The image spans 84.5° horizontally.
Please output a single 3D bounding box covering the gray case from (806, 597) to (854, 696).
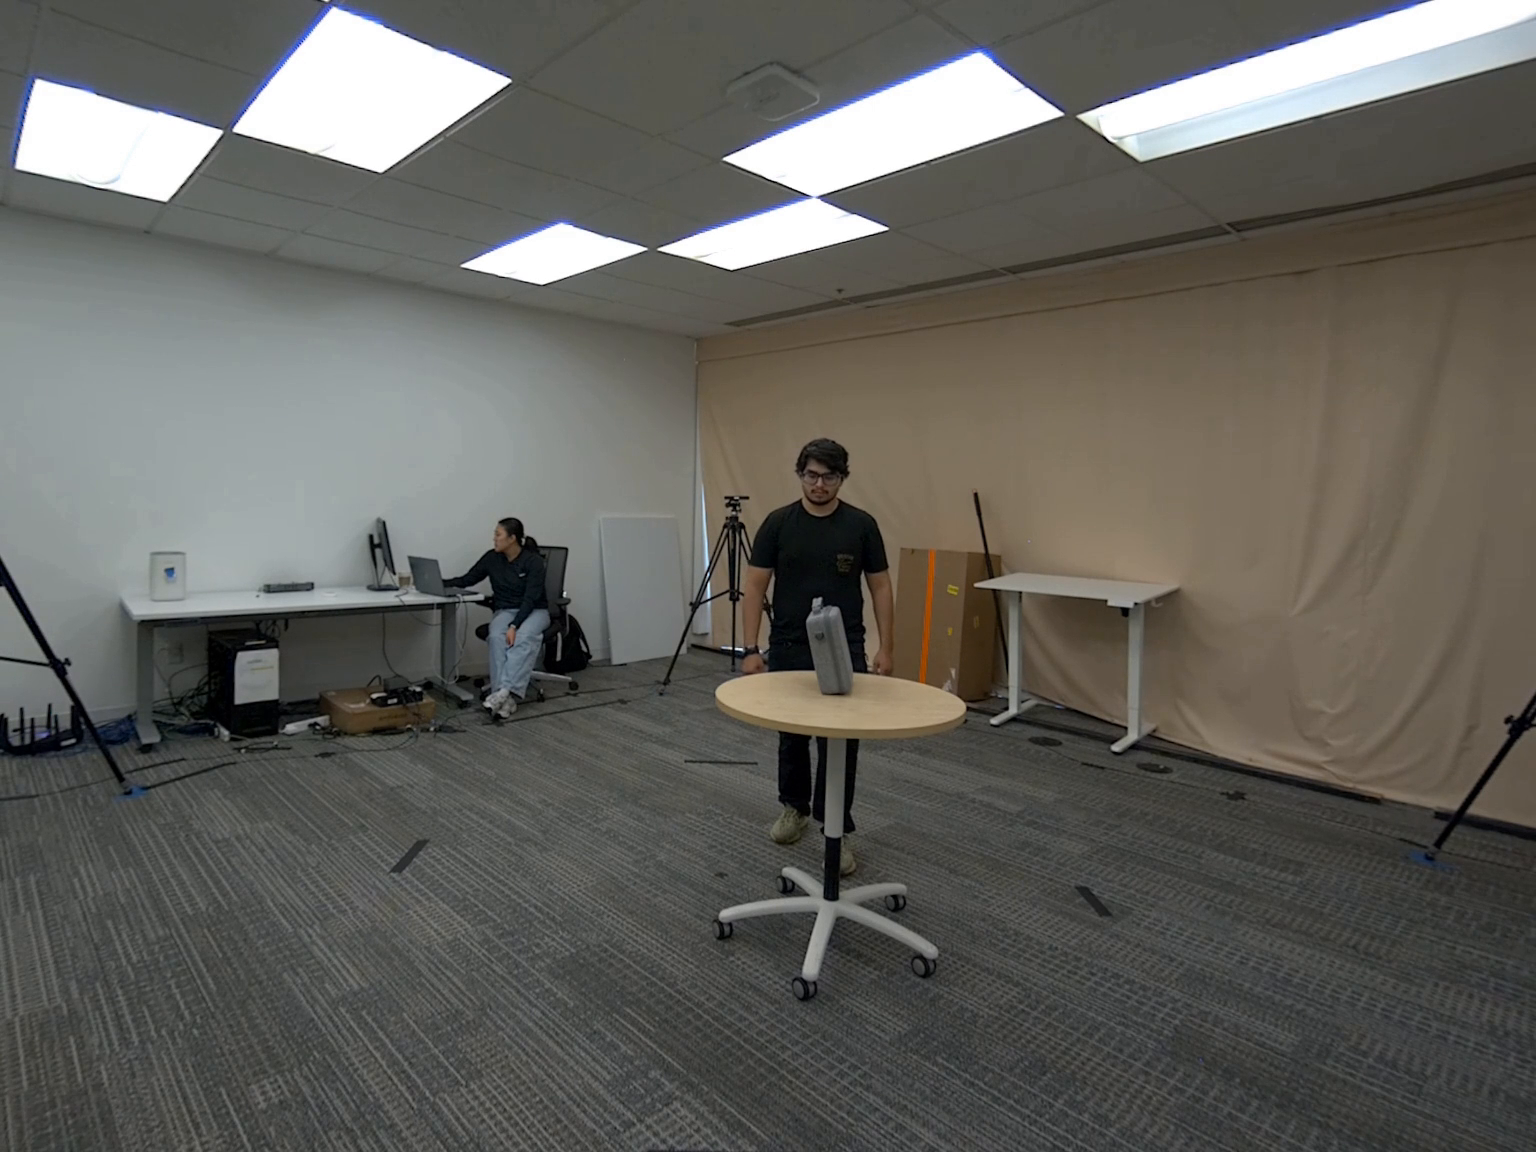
[{"bbox_3d":[0.195,0.235,2.720,0.105,0.260,0.256,-10,2,7],"label":"gray case"}]
